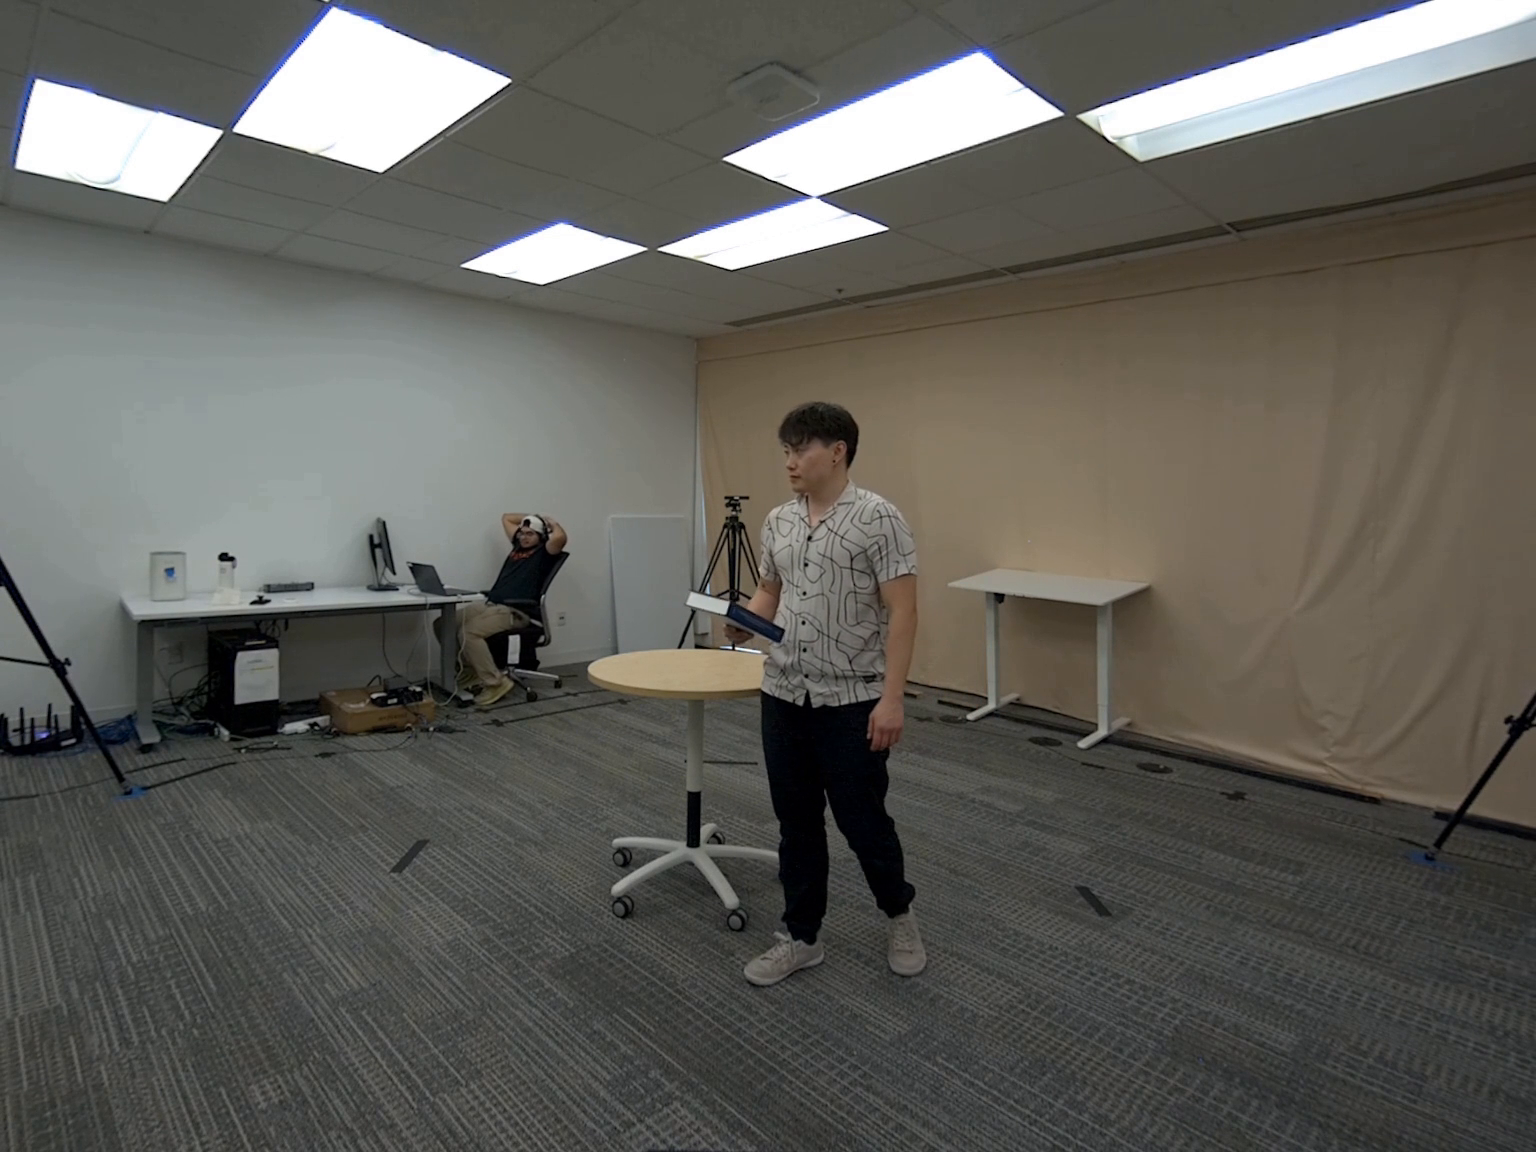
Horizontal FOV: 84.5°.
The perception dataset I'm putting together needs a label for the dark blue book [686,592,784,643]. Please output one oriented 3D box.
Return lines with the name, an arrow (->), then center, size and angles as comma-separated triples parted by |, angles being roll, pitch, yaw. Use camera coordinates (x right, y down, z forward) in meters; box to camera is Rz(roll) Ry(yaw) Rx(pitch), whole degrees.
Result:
dark blue book -> -0.089, 0.111, 2.302 | 0.168, 0.045, 0.237 | 13, -12, 44
